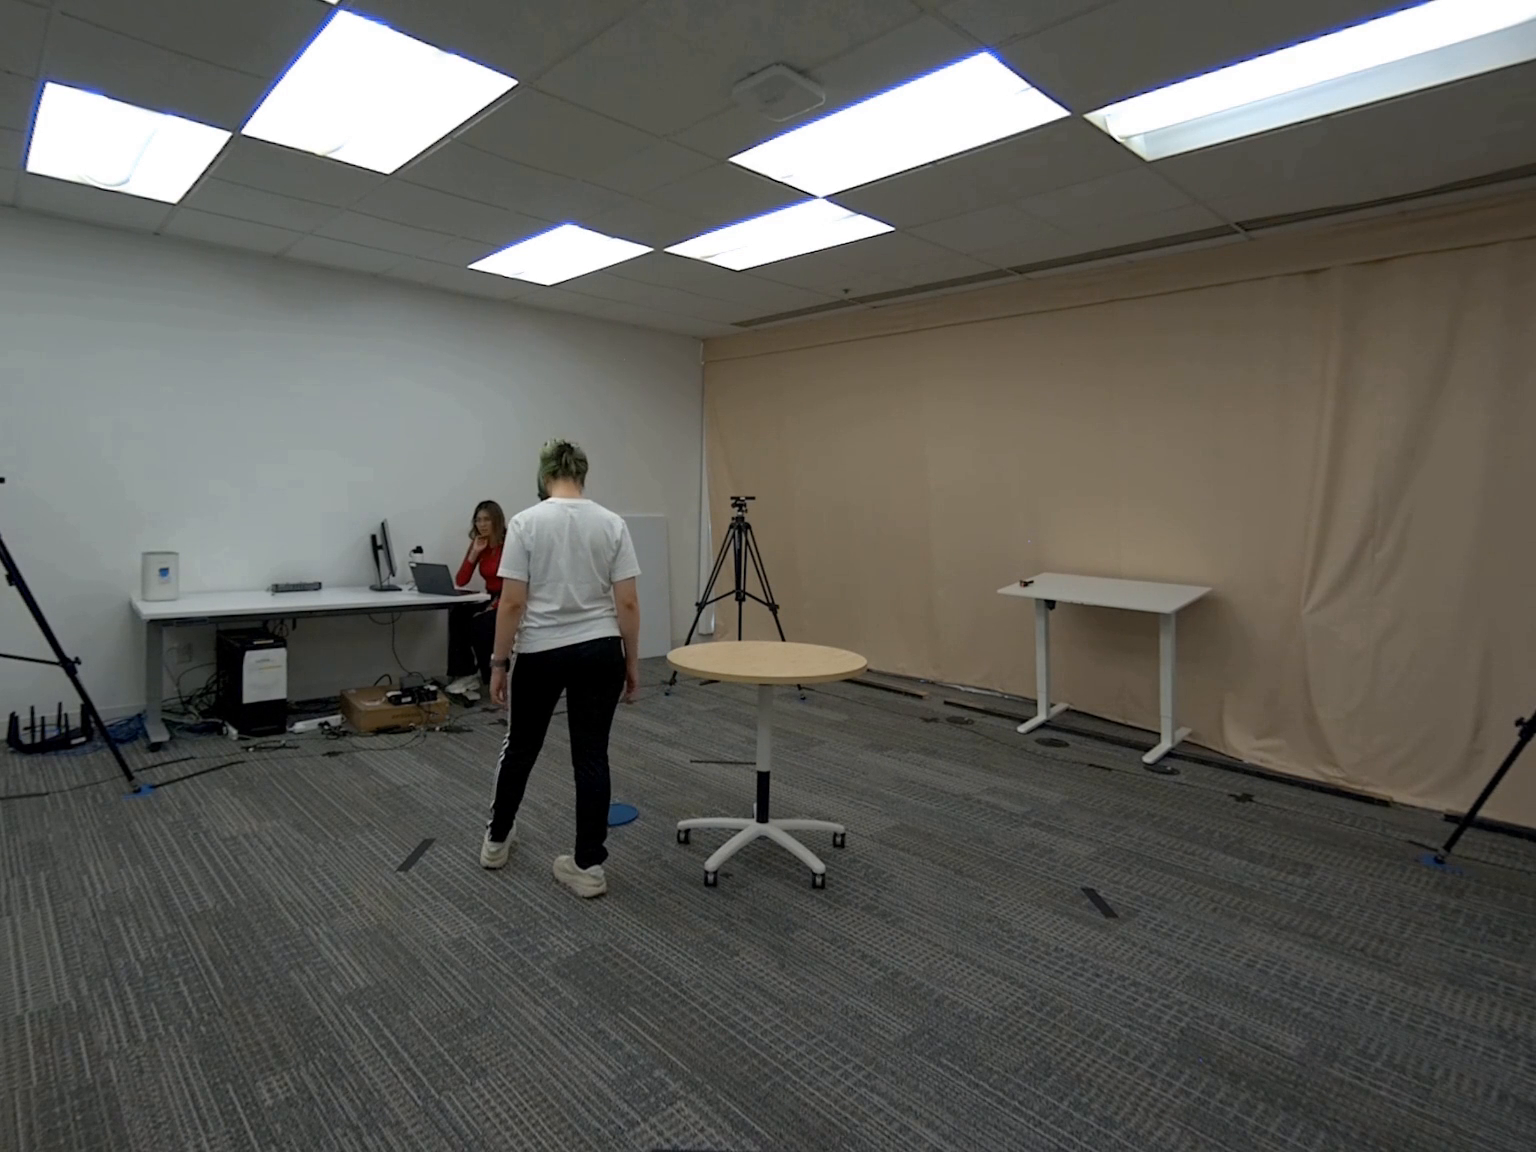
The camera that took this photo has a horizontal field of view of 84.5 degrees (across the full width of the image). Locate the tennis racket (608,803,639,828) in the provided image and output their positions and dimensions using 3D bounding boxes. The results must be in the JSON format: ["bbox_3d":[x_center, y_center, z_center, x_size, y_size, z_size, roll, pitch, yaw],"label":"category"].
[{"bbox_3d":[-0.700,1.033,3.572,0.216,0.032,0.428,4,4,14],"label":"tennis racket"}]
